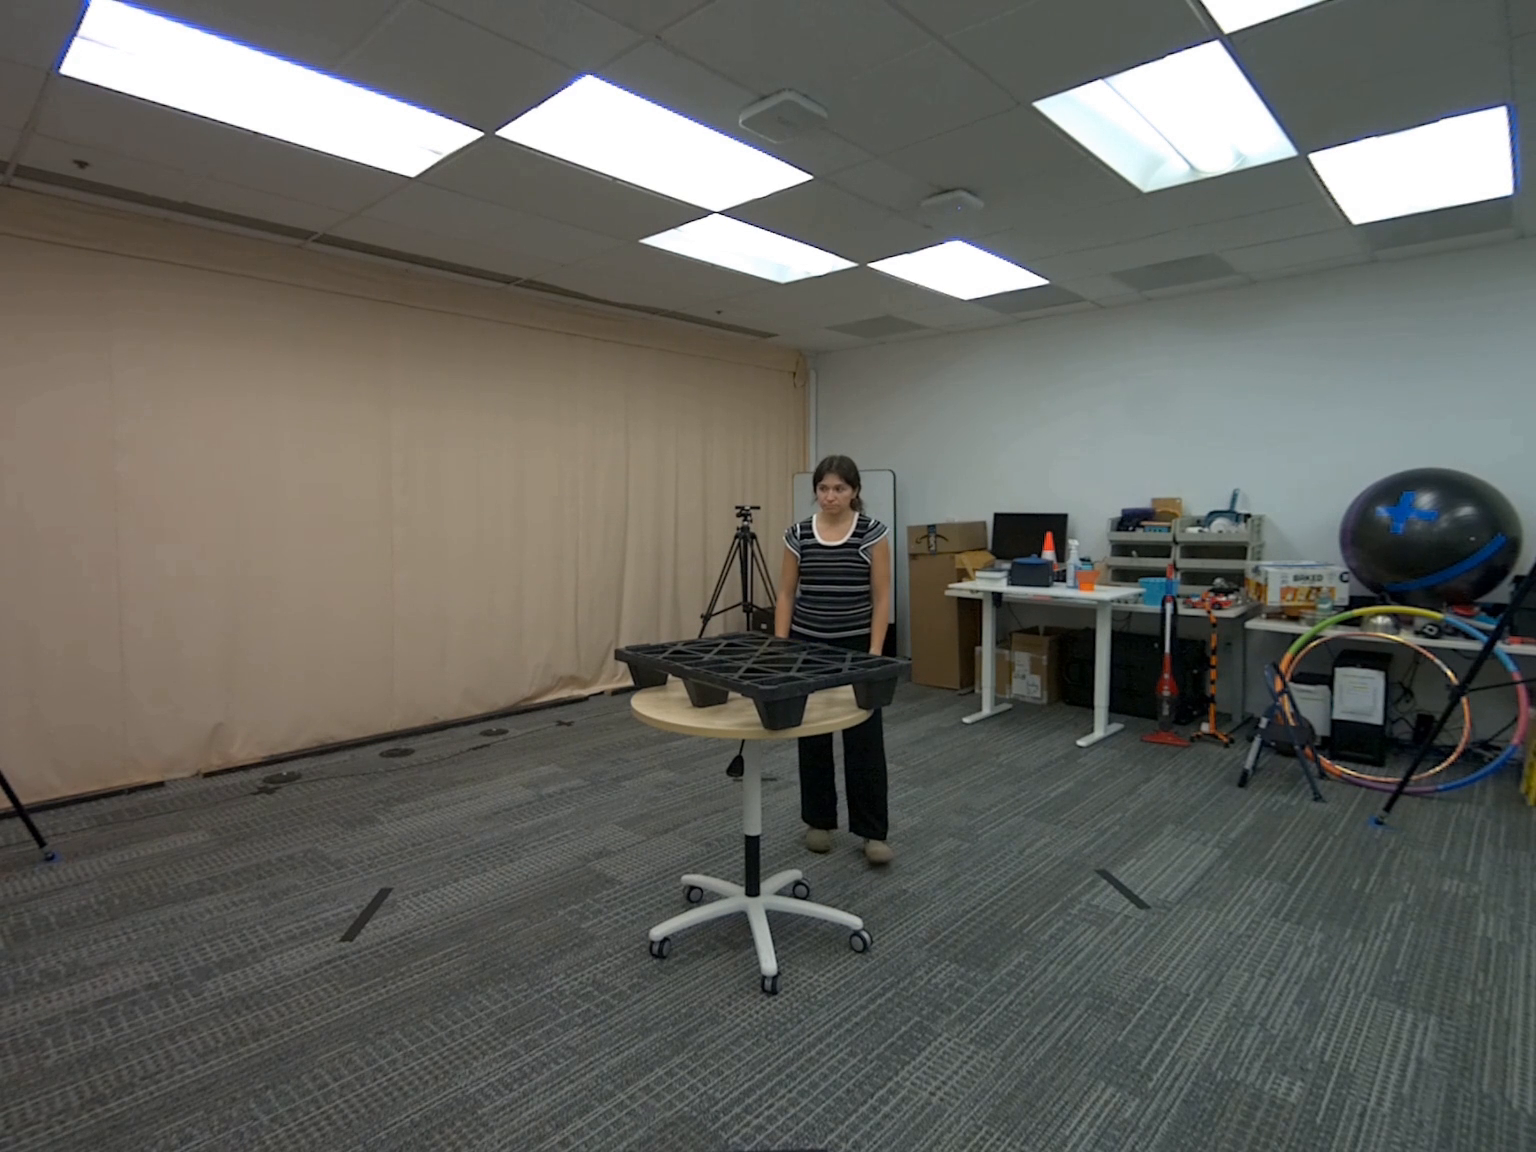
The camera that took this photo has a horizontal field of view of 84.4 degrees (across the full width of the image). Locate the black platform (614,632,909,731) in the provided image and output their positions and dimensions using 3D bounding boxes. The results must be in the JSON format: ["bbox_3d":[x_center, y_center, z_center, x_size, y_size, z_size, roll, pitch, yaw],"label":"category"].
[{"bbox_3d":[-0.033,0.322,2.696,0.587,0.143,0.832,-5,6,-38],"label":"black platform"}]
